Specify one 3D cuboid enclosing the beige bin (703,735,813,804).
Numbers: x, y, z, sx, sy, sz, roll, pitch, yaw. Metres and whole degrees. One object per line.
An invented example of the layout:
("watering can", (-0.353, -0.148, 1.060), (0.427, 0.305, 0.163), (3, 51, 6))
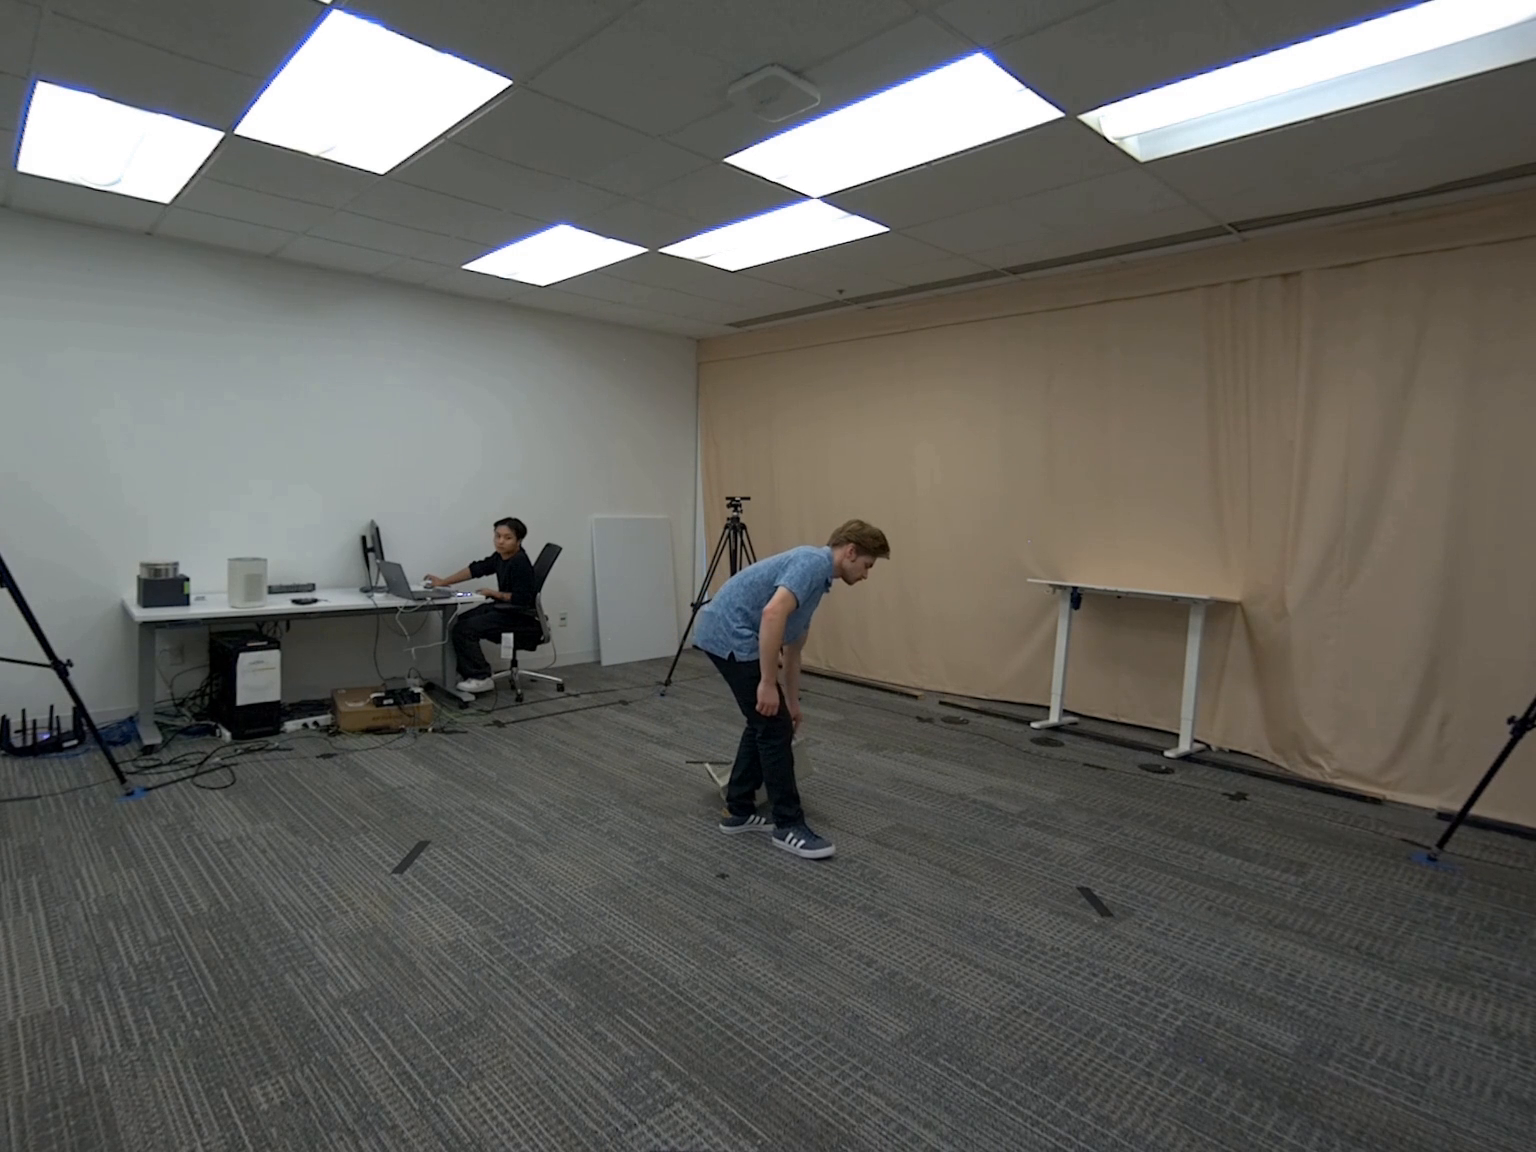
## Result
("beige bin", (-0.049, 0.872, 3.848), (0.420, 0.187, 0.383), (-27, 13, -12))
